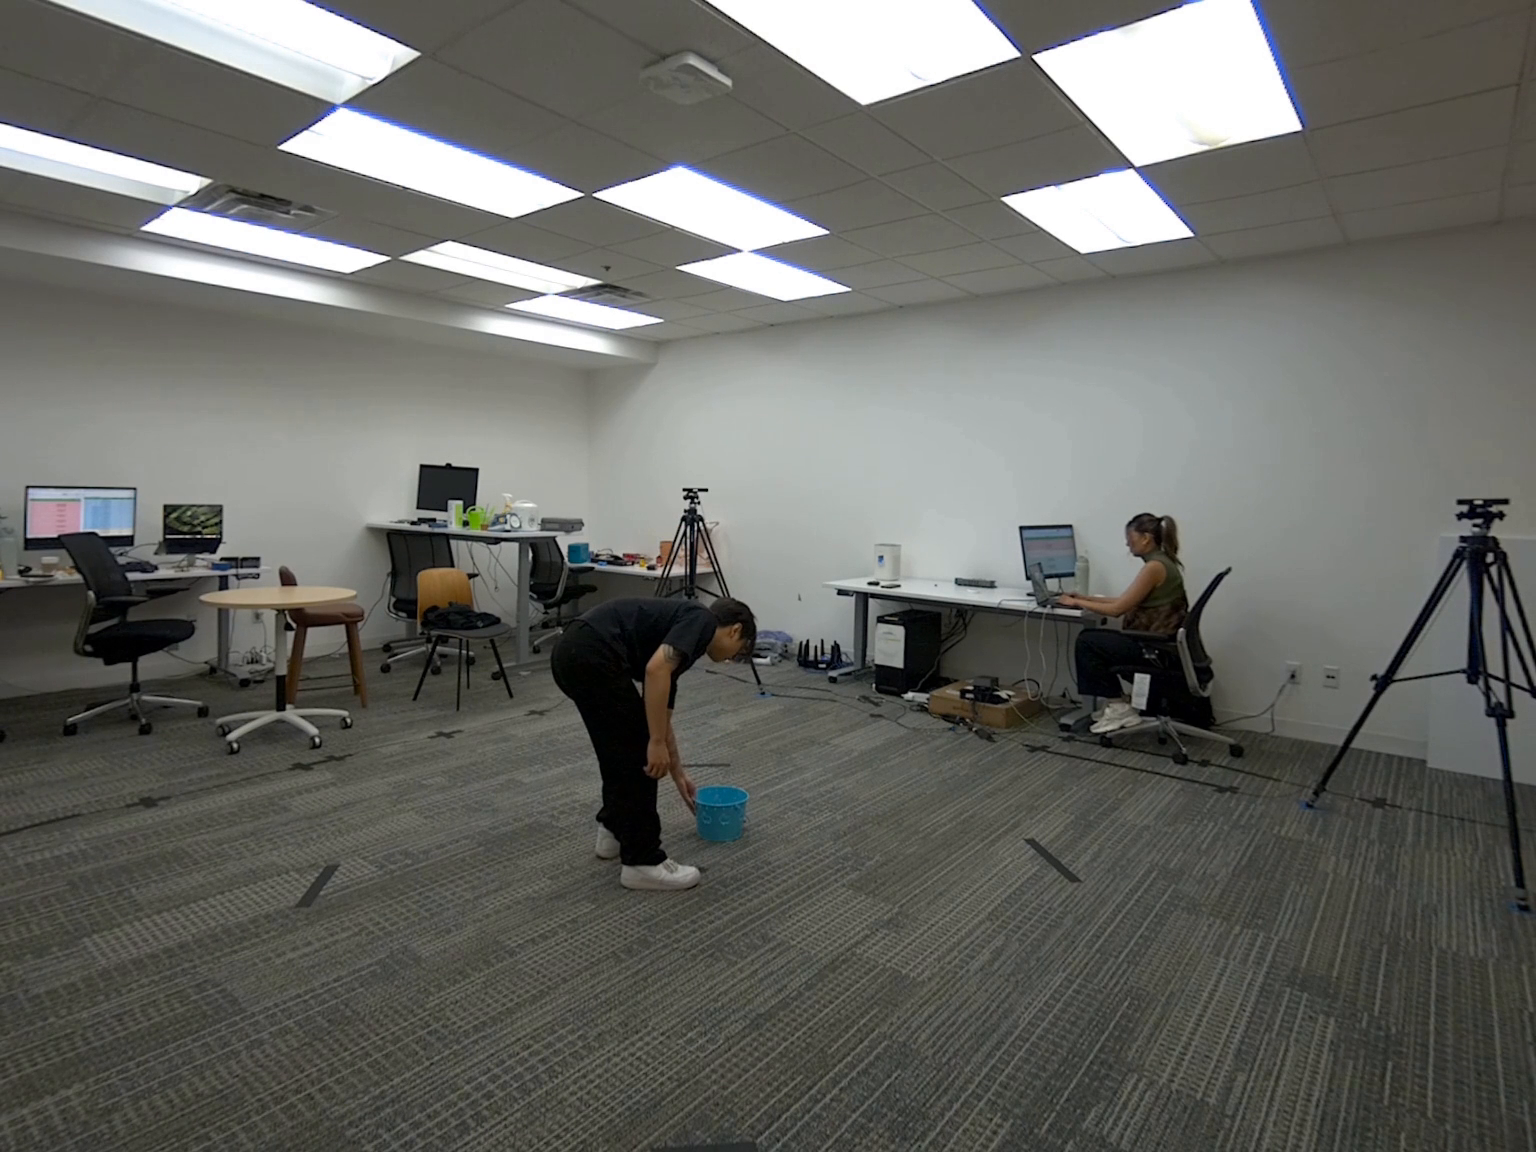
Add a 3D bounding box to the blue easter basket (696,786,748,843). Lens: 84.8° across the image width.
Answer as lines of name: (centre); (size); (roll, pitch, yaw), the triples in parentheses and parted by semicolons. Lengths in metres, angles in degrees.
blue easter basket: (-0.198, 0.960, 3.450); (0.243, 0.155, 0.245); (1, 6, -2)
